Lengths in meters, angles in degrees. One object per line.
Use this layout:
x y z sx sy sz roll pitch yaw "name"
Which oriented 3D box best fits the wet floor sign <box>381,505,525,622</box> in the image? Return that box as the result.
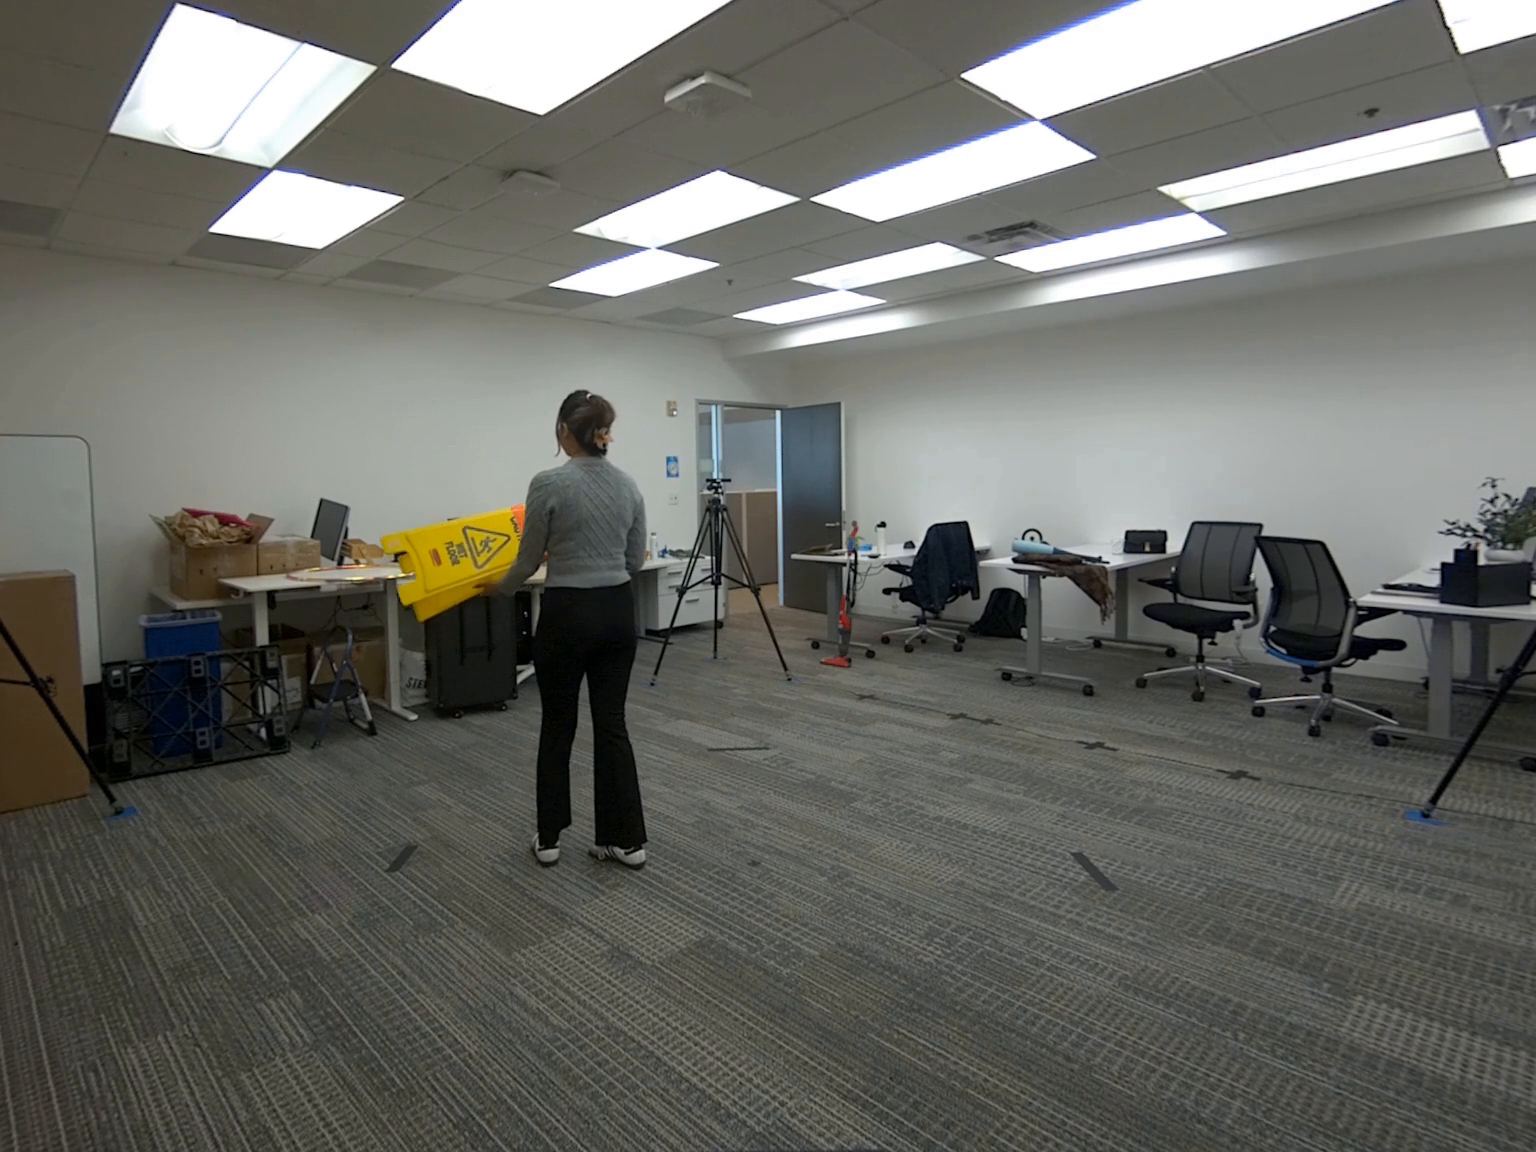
-1.086 -0.096 3.272 0.641 0.287 0.287 -22 -12 -14 "wet floor sign"
